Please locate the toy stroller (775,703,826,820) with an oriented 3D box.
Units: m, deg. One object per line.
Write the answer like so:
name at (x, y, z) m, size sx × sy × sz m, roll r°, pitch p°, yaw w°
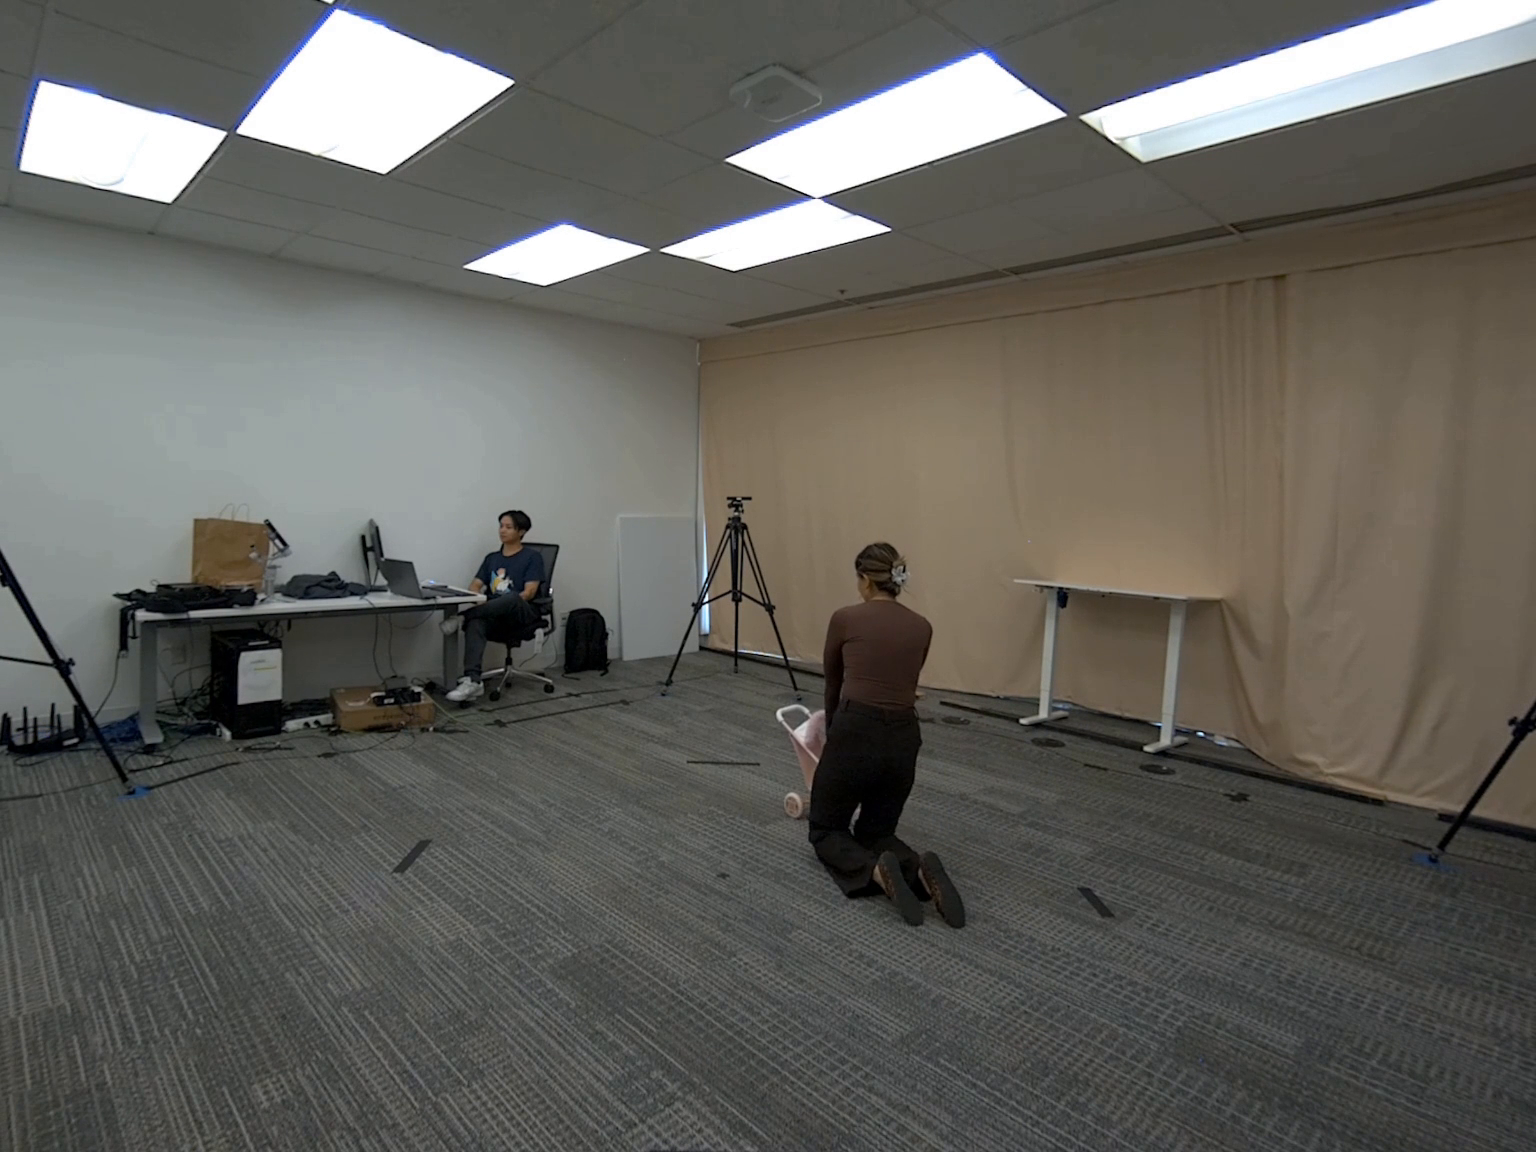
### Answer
toy stroller at (0.240, 0.837, 3.731) m, size 0.275 × 0.538 × 0.347 m, roll -2°, pitch -9°, yaw -44°
